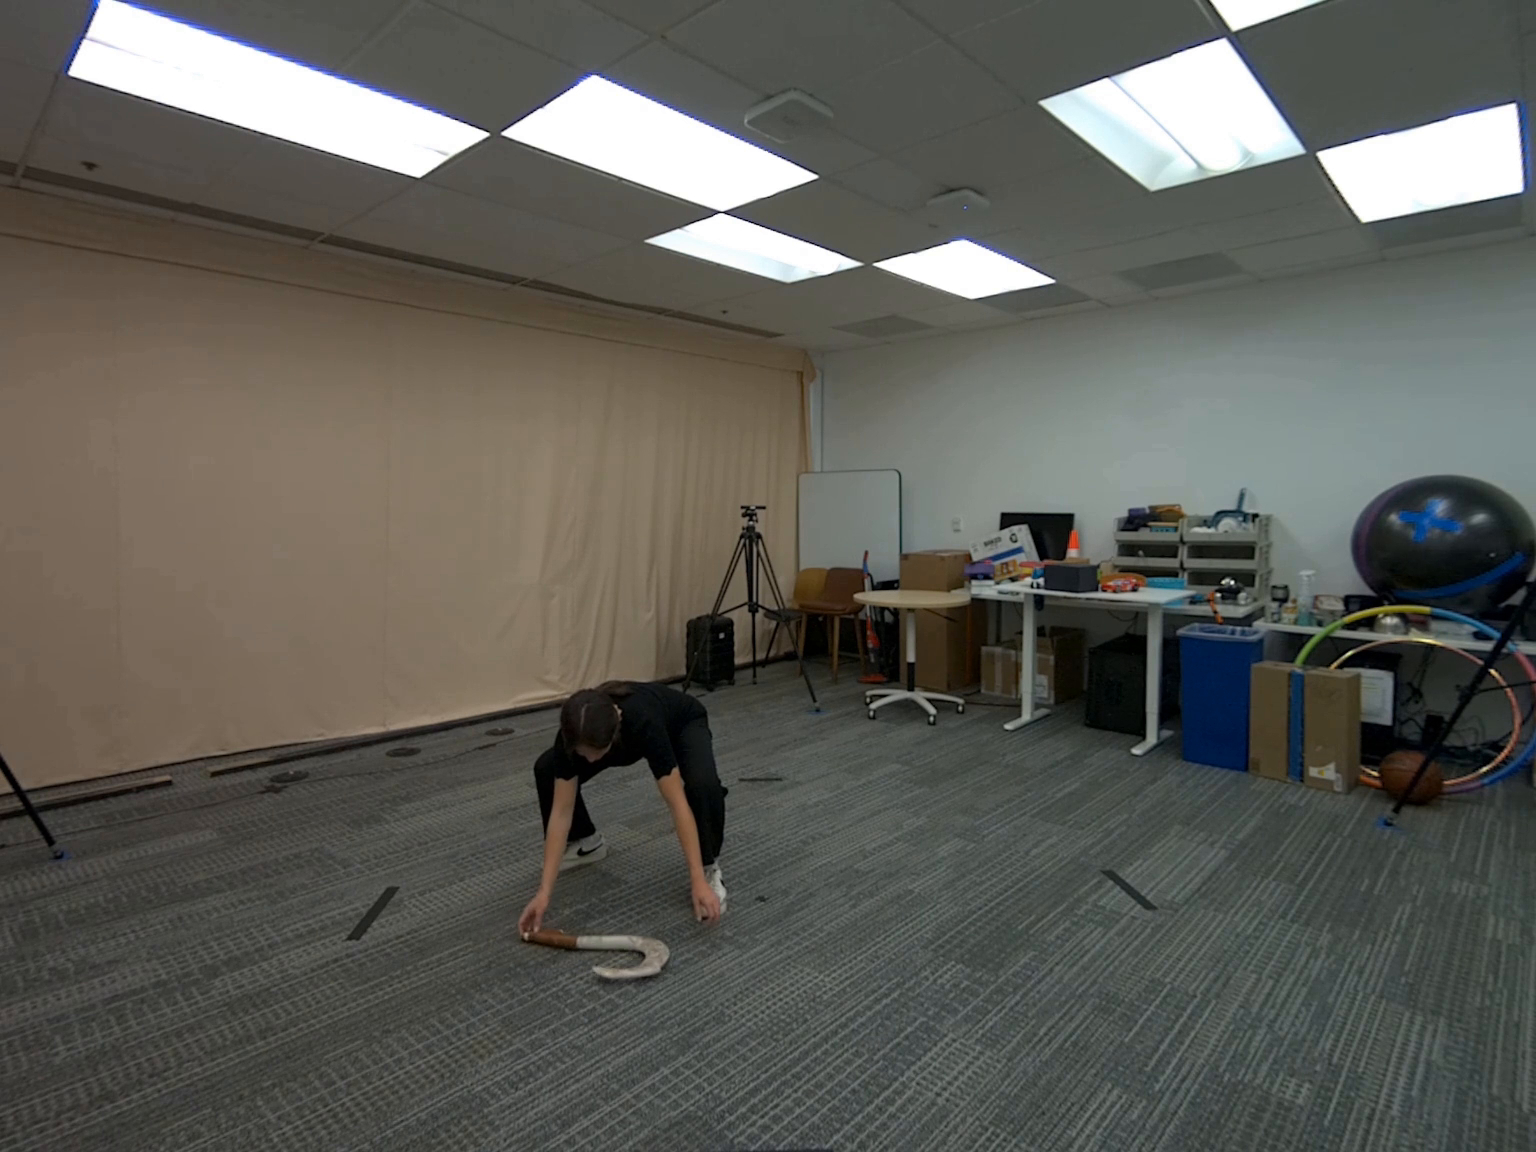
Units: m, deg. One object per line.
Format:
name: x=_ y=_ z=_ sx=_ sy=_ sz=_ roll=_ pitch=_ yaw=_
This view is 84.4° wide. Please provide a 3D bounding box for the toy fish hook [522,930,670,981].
toy fish hook: x=-0.552 y=1.159 z=2.583 sx=0.516 sy=0.048 sz=0.220 roll=-1 pitch=0 yaw=17
